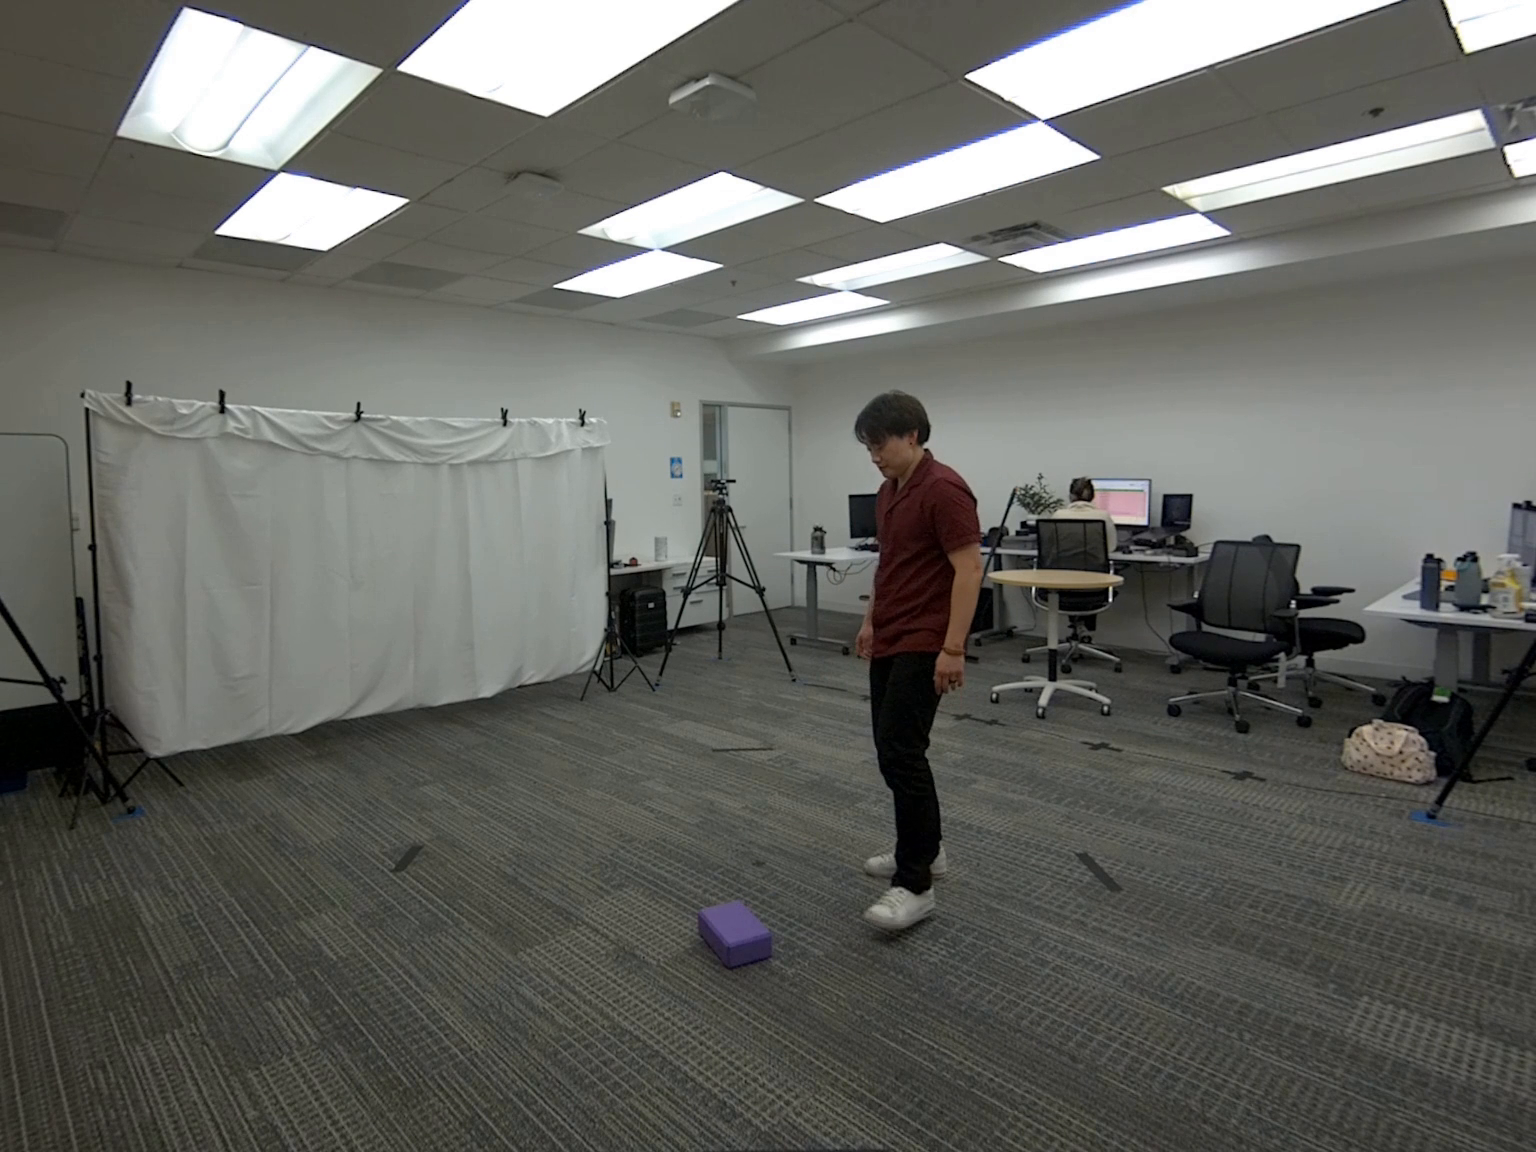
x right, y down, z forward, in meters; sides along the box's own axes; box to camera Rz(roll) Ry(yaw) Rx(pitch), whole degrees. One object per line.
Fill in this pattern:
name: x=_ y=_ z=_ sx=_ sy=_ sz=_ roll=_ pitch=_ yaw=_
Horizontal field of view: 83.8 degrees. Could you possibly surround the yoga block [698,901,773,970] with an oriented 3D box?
yoga block: x=-0.094 y=1.069 z=2.564 sx=0.146 sy=0.076 sz=0.235 roll=-5 pitch=8 yaw=-25
